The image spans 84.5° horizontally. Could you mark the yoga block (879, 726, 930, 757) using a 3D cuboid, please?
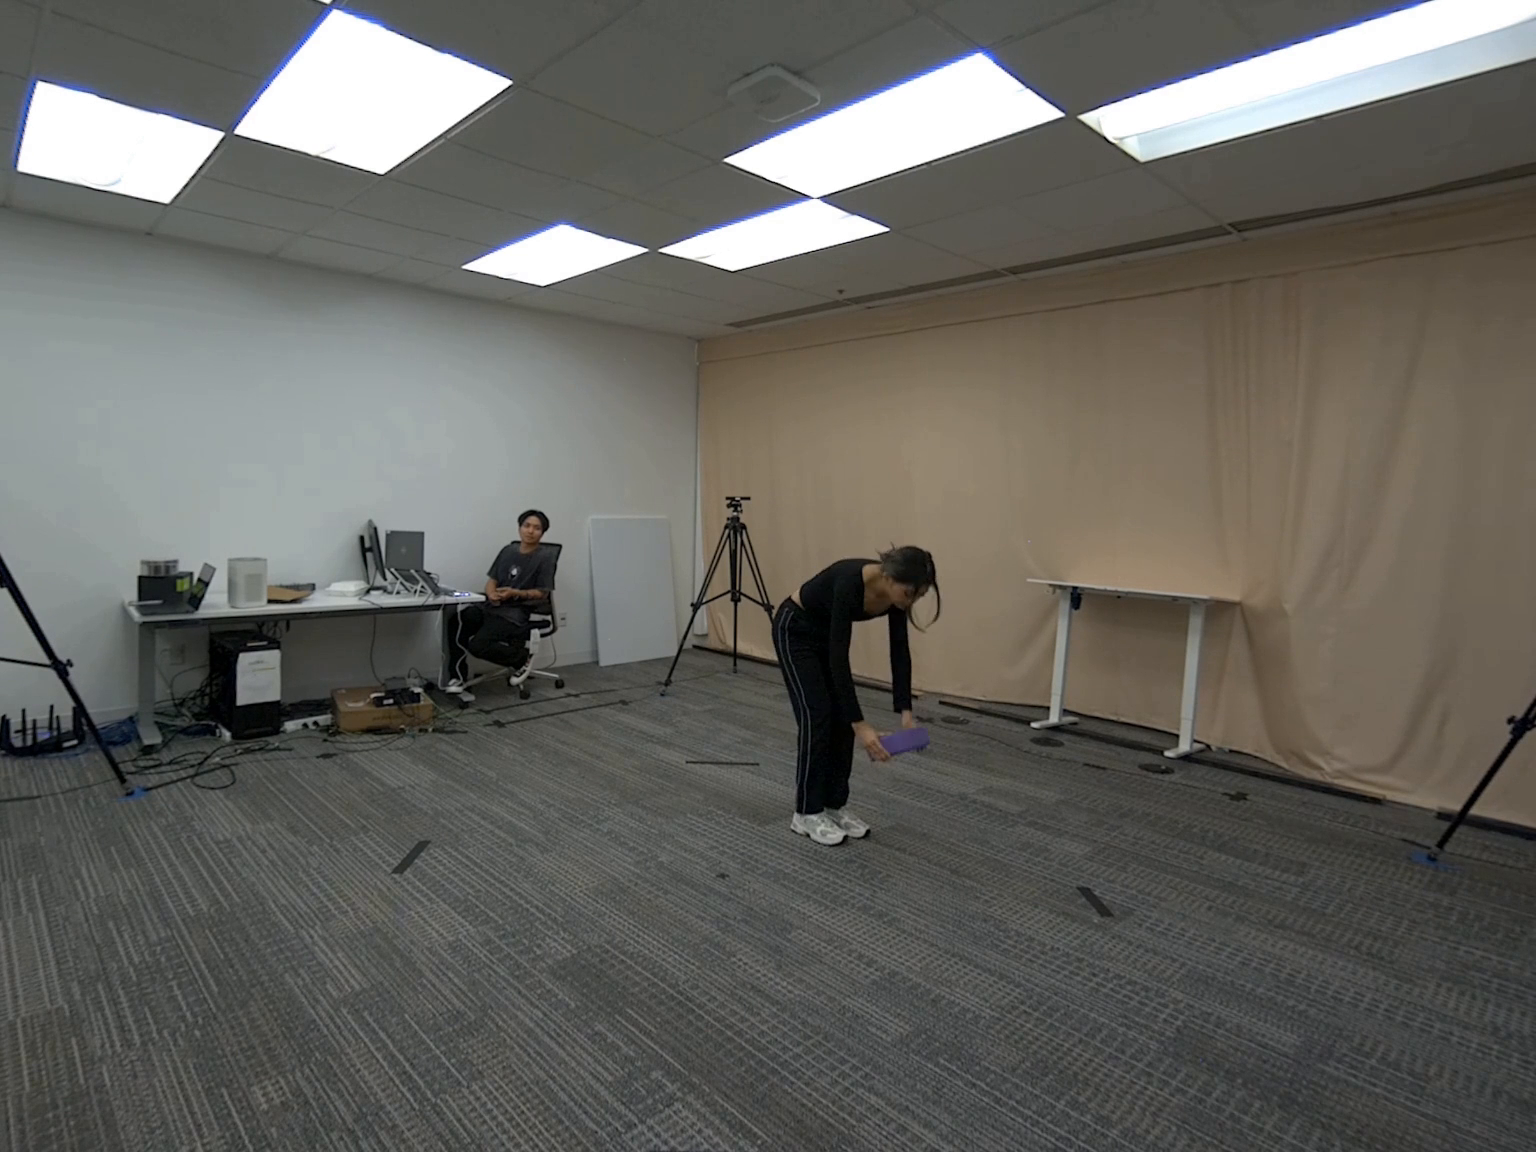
[{"bbox_3d":[0.495,0.641,3.266,0.224,0.077,0.151,-2,-14,-43],"label":"yoga block"}]
